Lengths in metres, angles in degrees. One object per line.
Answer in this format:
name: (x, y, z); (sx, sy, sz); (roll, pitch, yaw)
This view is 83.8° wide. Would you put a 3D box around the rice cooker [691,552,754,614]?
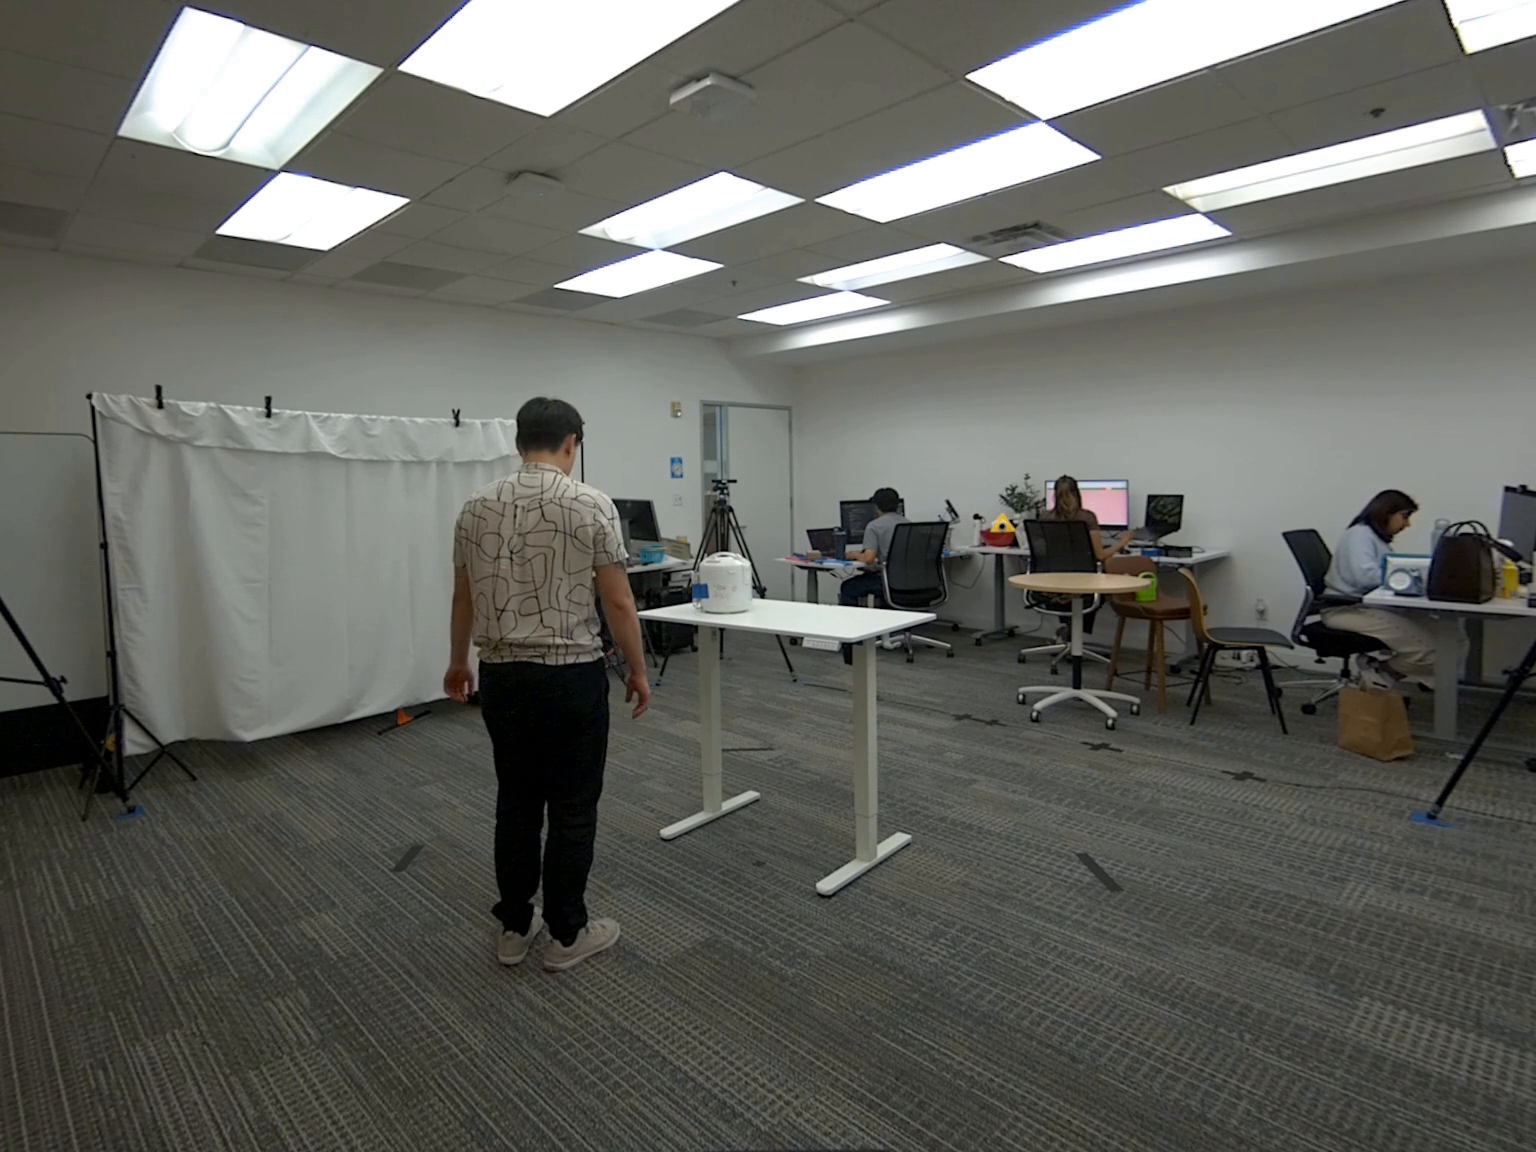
rice cooker: (-0.169, 0.021, 3.370); (0.227, 0.232, 0.212); (2, 7, 35)
